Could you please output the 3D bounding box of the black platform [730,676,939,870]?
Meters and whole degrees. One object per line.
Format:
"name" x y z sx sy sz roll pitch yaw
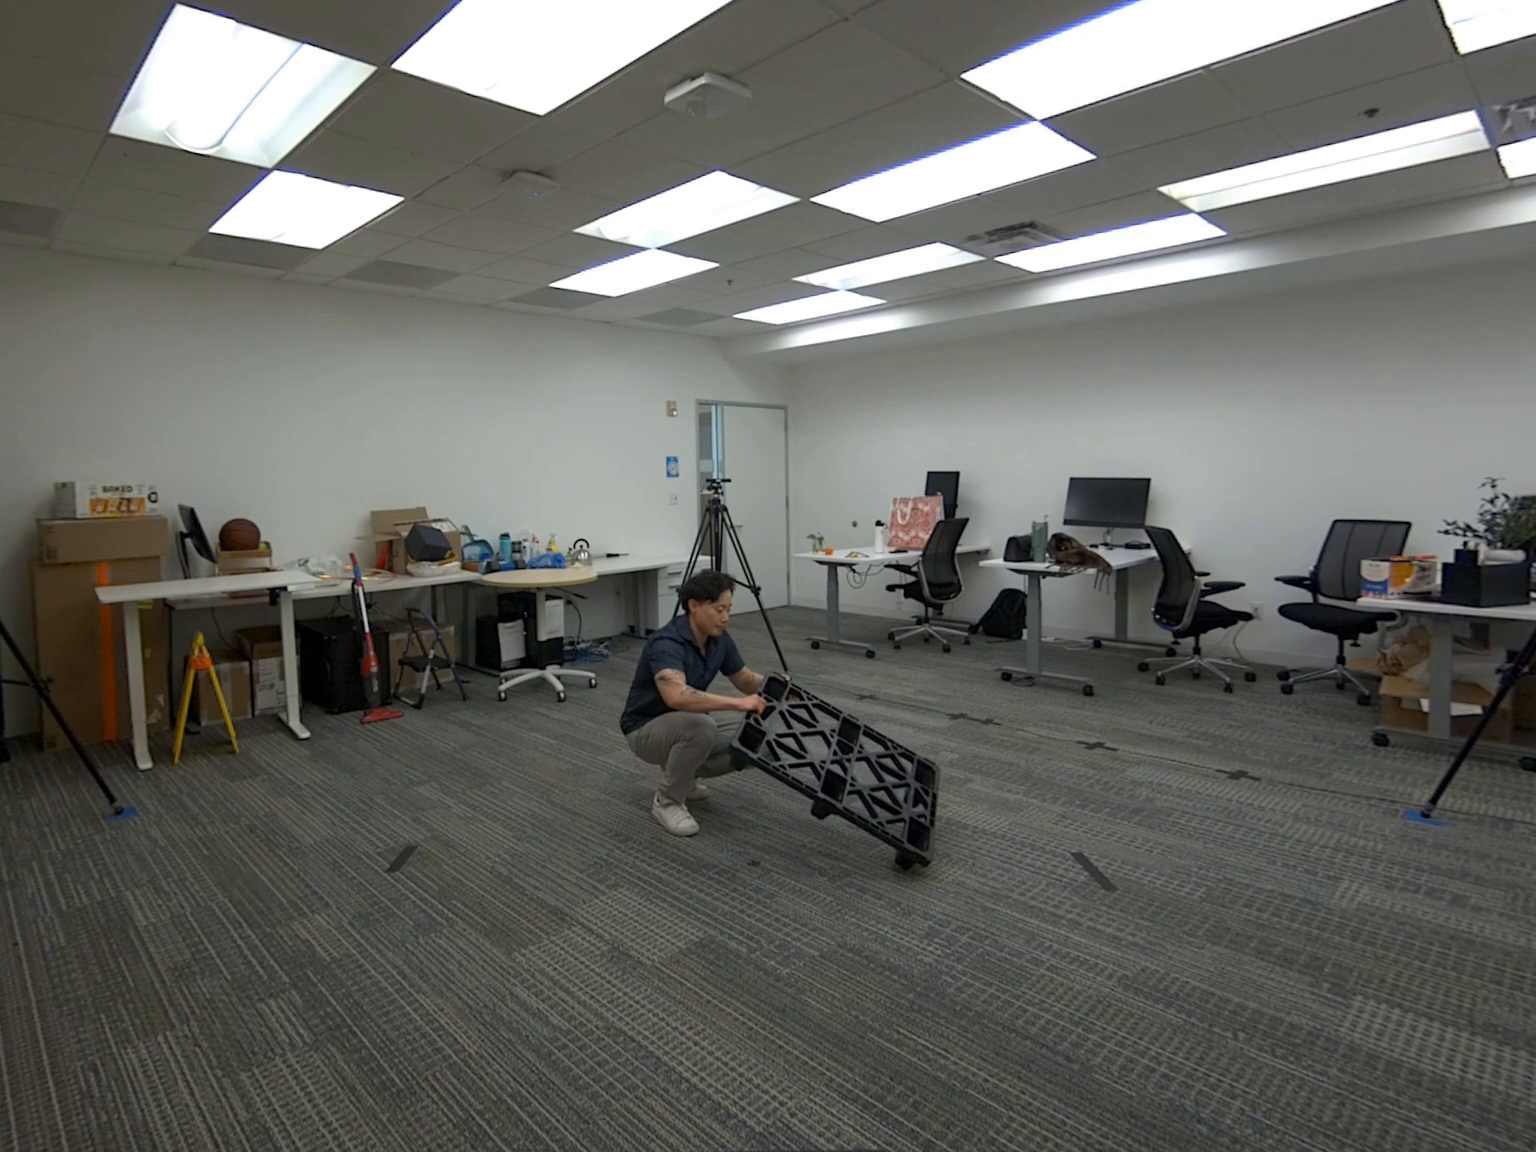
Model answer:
"black platform" 0.253 0.729 3.269 0.812 0.142 0.605 30 24 5
